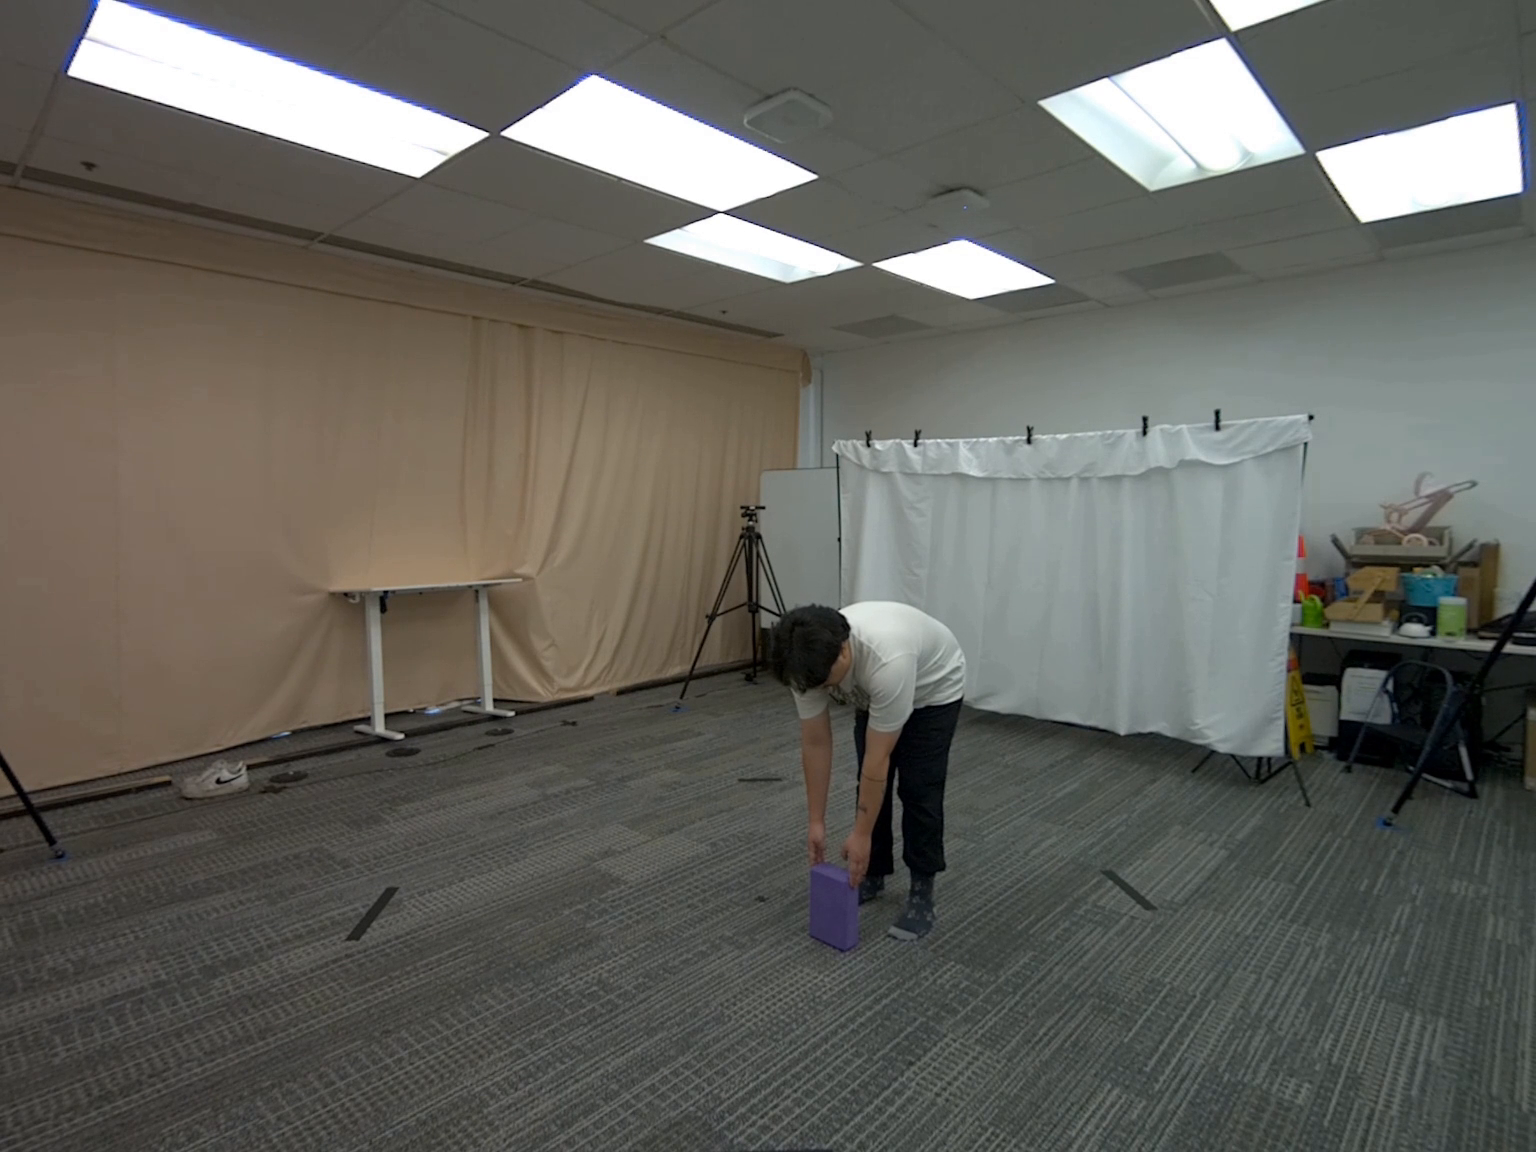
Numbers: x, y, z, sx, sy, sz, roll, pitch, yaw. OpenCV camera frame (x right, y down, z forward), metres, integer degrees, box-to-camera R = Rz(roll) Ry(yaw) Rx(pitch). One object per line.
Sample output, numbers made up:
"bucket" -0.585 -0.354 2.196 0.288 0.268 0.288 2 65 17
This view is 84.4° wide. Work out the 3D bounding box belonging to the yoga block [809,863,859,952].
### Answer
"yoga block" 0.220 1.058 2.687 0.154 0.229 0.074 5 3 42
